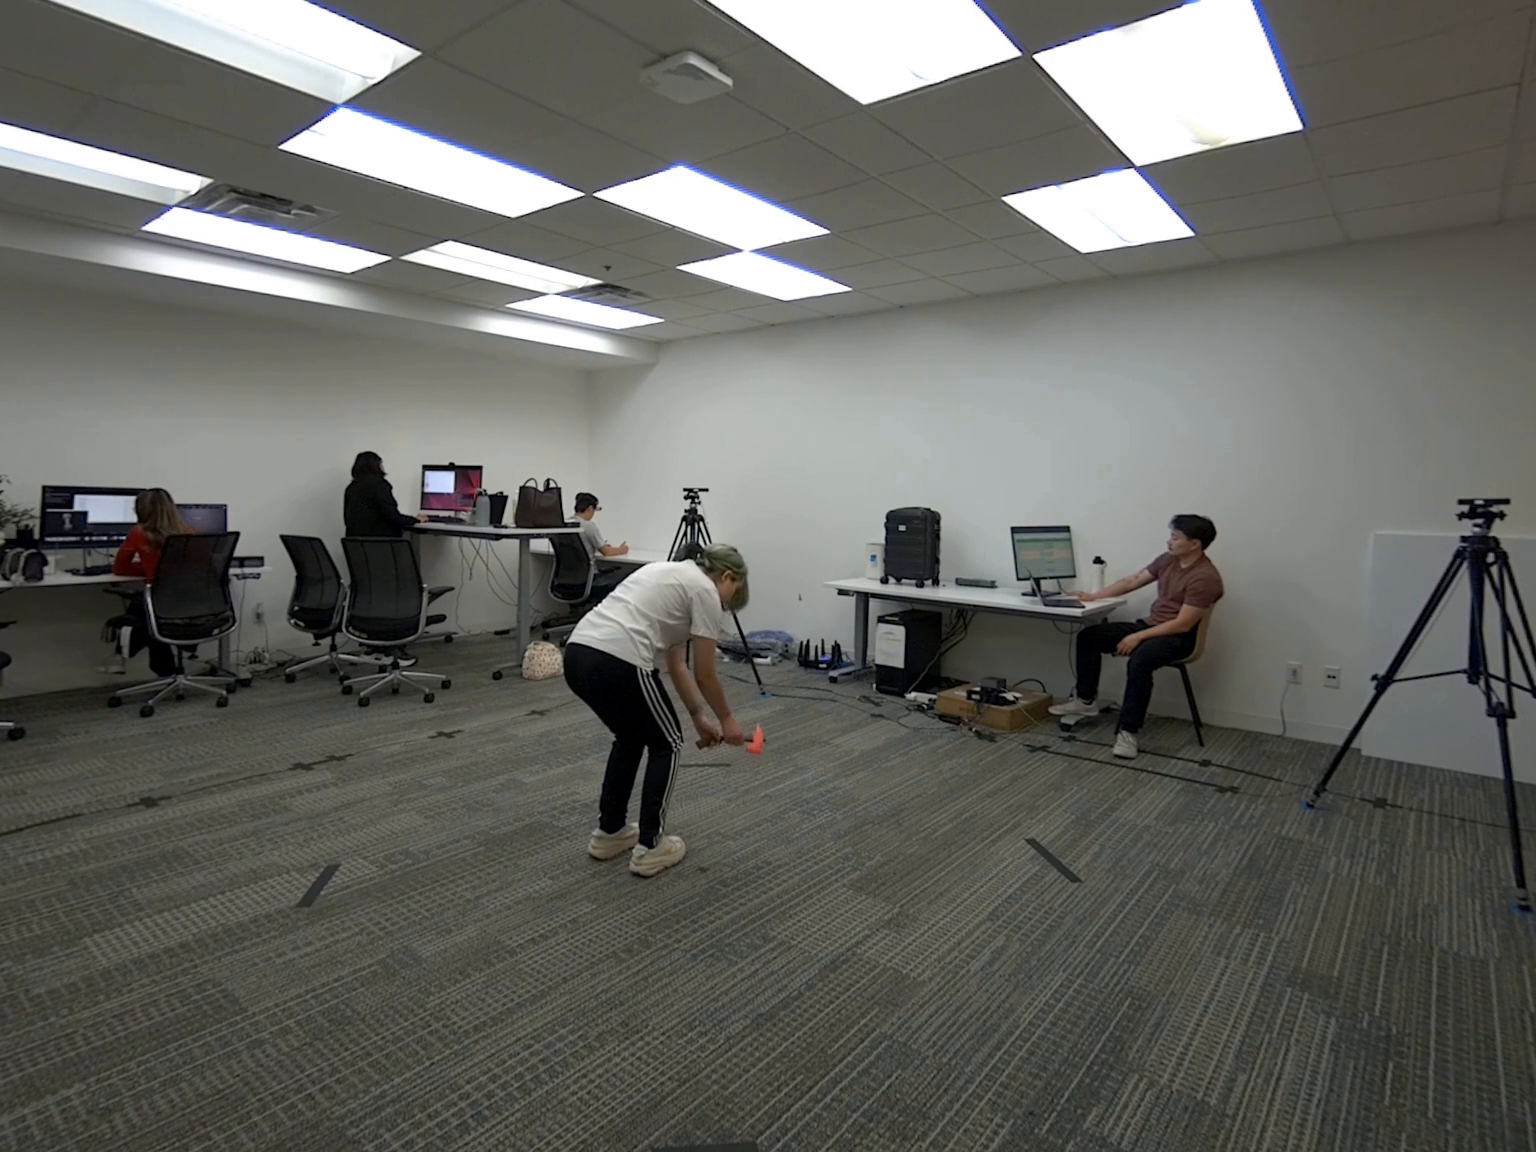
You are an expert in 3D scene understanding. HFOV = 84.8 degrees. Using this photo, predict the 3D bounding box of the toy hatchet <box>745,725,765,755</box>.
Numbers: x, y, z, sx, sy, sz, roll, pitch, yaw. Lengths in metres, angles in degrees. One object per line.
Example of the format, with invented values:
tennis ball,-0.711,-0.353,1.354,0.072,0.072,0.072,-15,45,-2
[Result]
toy hatchet,-0.149,0.663,3.320,0.267,0.029,0.136,-14,42,-15
